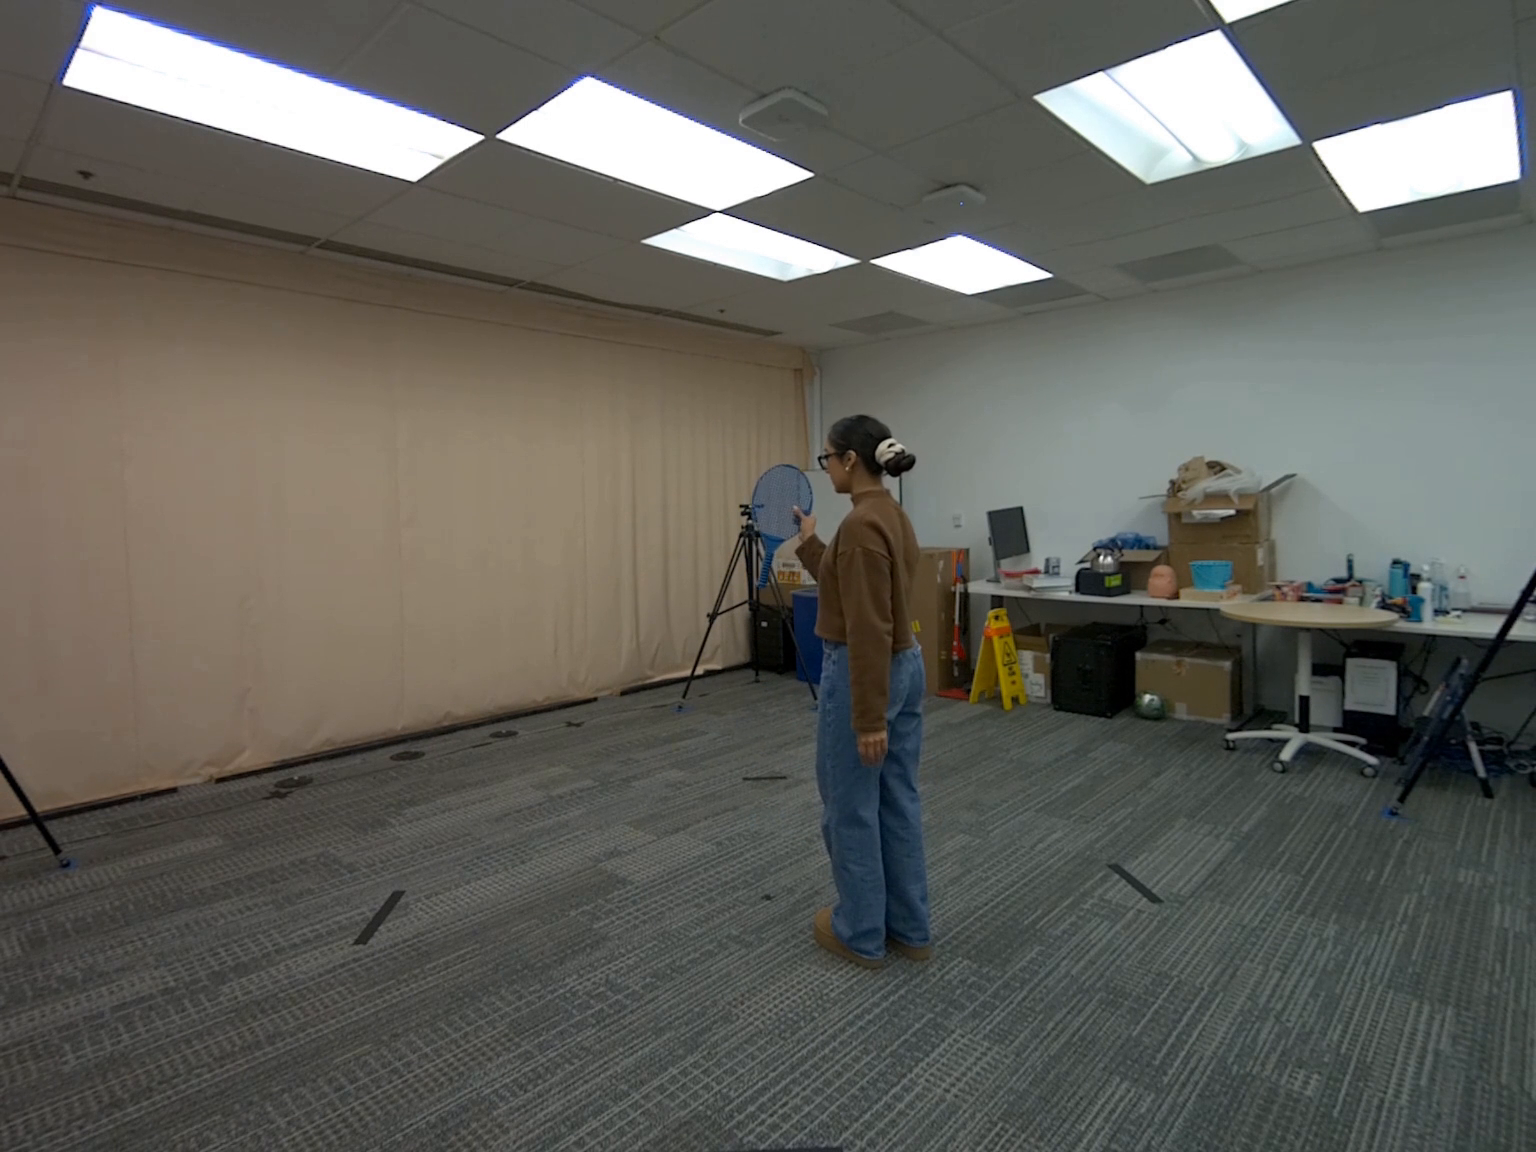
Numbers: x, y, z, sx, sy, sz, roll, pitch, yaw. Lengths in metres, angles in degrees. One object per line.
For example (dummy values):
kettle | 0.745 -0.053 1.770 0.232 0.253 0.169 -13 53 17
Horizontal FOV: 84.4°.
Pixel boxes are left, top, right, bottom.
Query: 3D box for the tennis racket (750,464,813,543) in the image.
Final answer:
tennis racket | 0.041 -0.166 2.859 0.212 0.433 0.032 5 -3 -8
